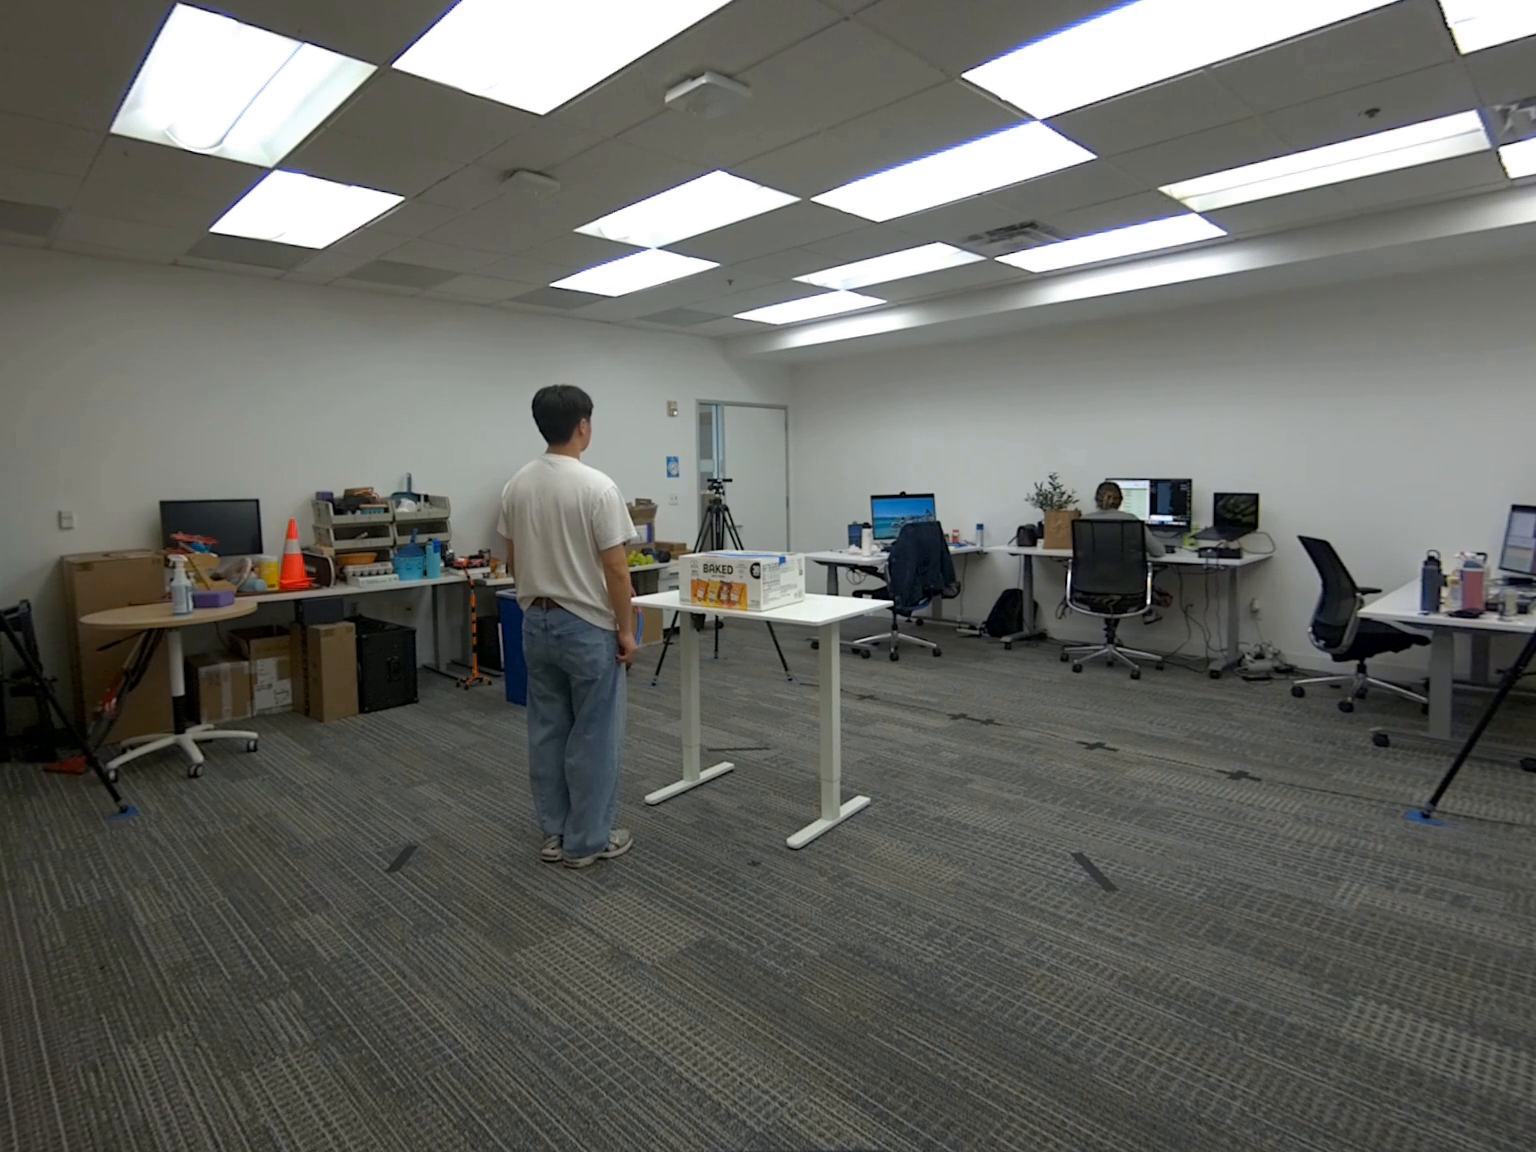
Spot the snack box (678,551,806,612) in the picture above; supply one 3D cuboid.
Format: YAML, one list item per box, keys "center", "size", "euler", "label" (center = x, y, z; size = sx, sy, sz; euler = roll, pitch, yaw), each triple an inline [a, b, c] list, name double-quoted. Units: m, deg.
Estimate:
- center: [-0.107, 0.012, 3.562]
  size: [0.417, 0.205, 0.332]
  euler: [3, 7, 34]
  label: "snack box"
